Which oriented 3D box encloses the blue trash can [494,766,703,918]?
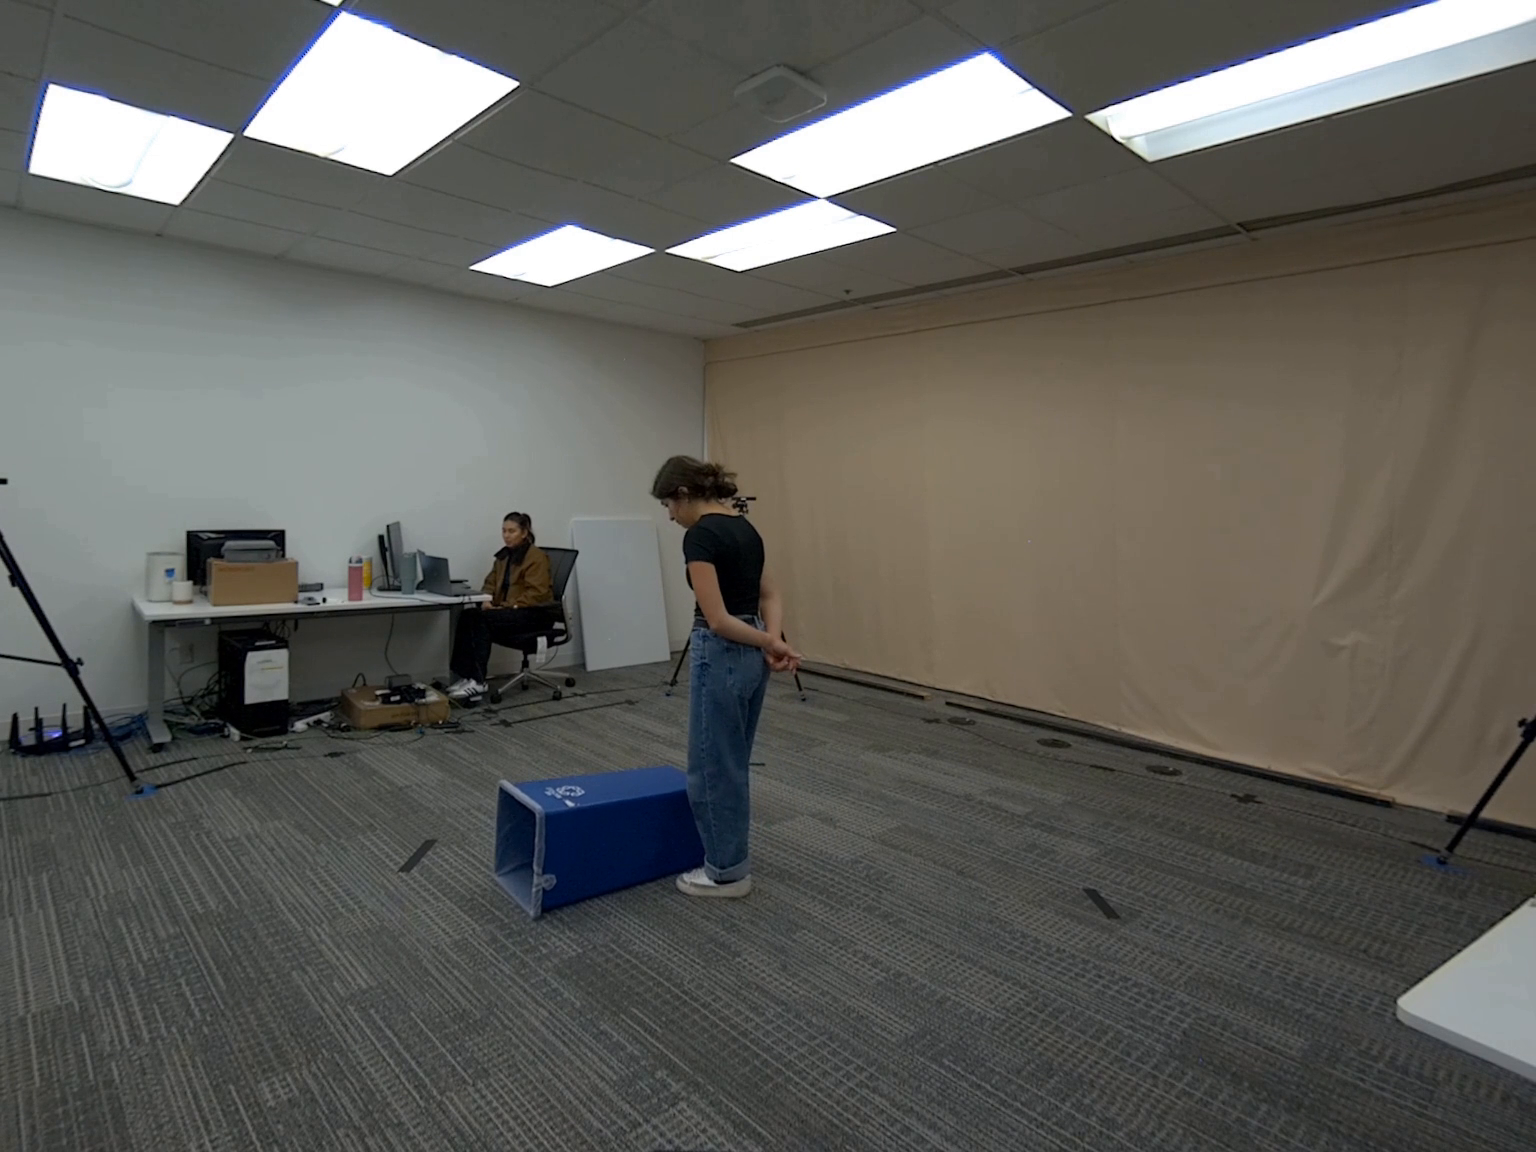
[{"bbox_3d":[-0.603,0.929,3.090,0.697,0.377,0.383,1,3,-39],"label":"blue trash can"}]
